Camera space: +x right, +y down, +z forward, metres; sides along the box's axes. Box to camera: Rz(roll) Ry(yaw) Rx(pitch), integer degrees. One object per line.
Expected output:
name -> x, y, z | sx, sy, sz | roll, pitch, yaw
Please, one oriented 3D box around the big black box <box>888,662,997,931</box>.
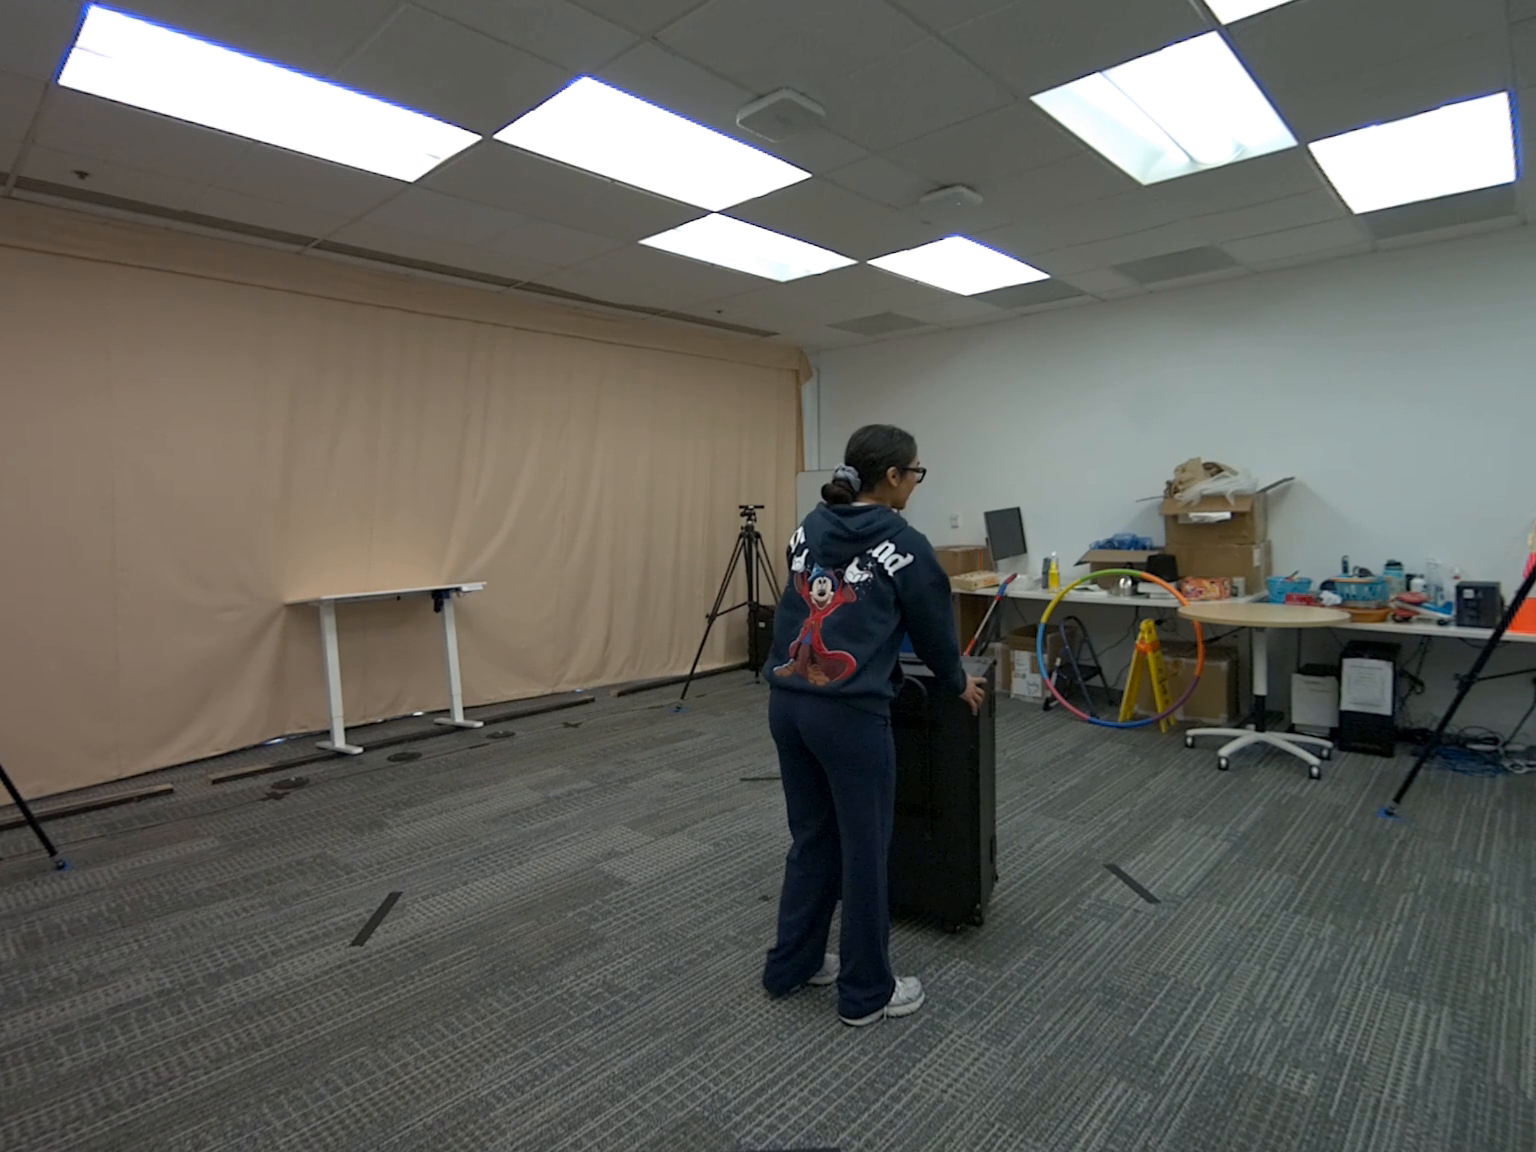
big black box -> 0.508, 0.719, 2.841 | 0.535, 0.858, 0.388 | 1, 6, 25
